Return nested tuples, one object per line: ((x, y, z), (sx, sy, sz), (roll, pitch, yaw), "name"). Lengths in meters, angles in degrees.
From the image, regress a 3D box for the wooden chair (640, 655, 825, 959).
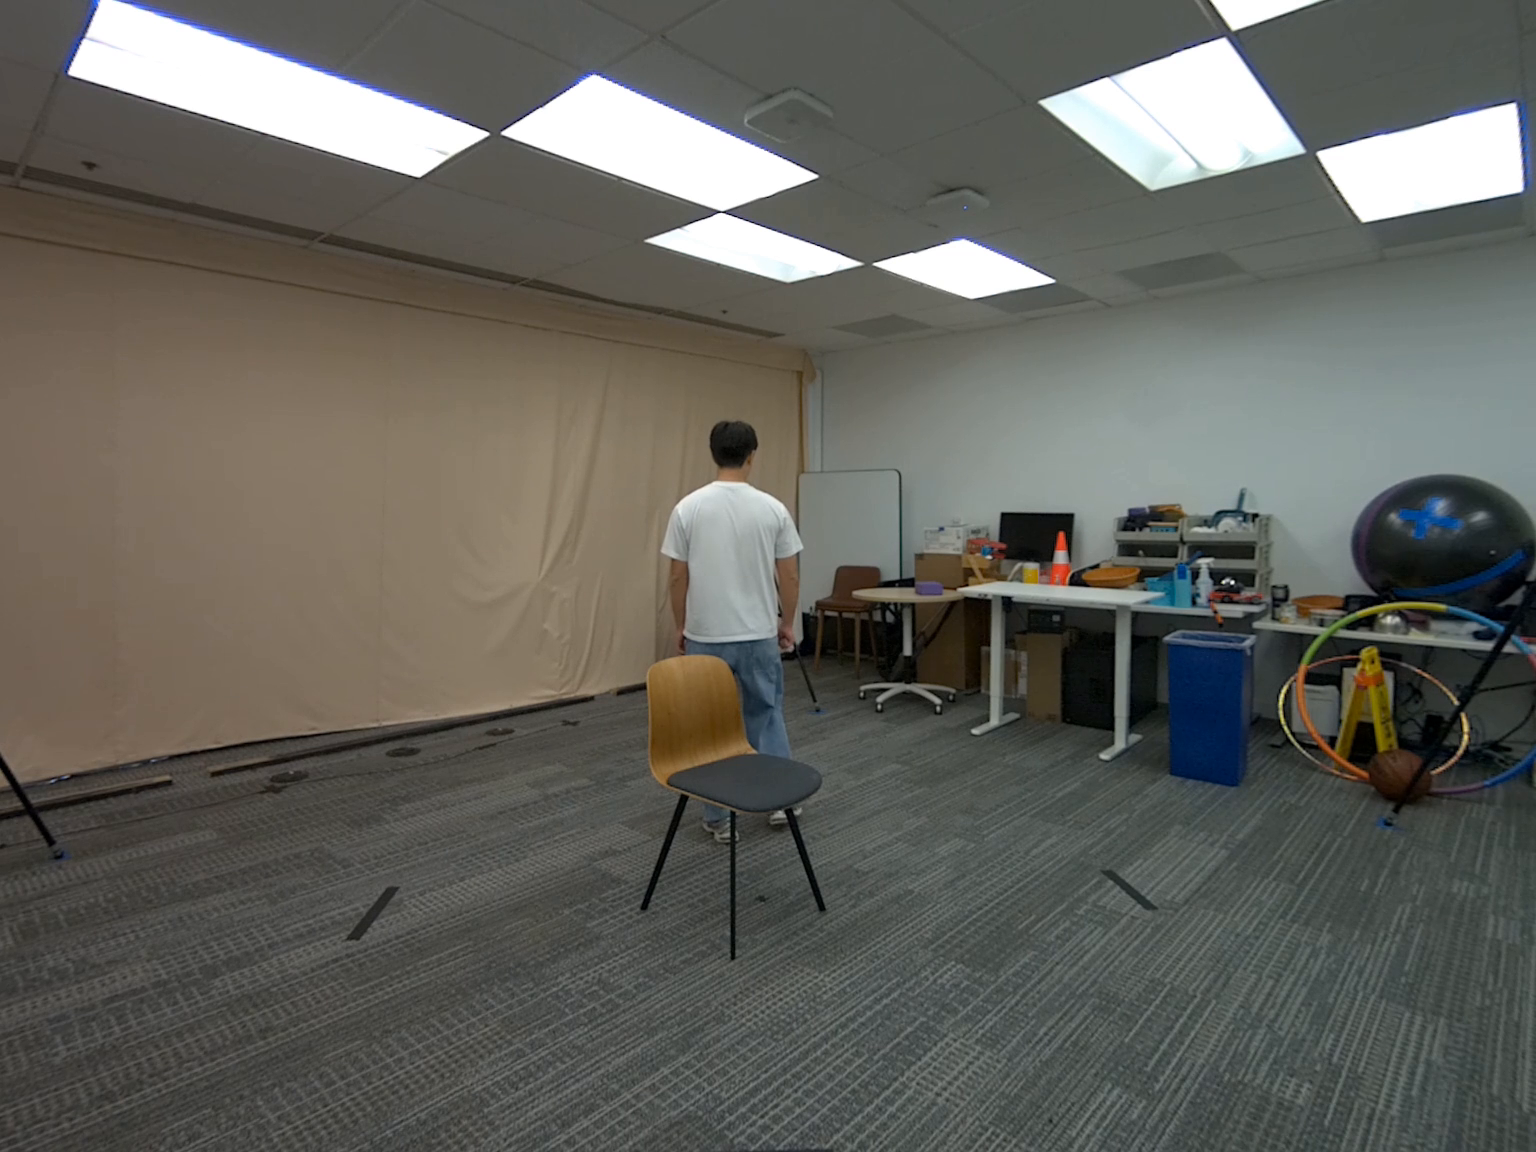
((-0.116, 0.724, 2.861), (0.539, 0.877, 0.463), (-4, 0, 44), "wooden chair")
